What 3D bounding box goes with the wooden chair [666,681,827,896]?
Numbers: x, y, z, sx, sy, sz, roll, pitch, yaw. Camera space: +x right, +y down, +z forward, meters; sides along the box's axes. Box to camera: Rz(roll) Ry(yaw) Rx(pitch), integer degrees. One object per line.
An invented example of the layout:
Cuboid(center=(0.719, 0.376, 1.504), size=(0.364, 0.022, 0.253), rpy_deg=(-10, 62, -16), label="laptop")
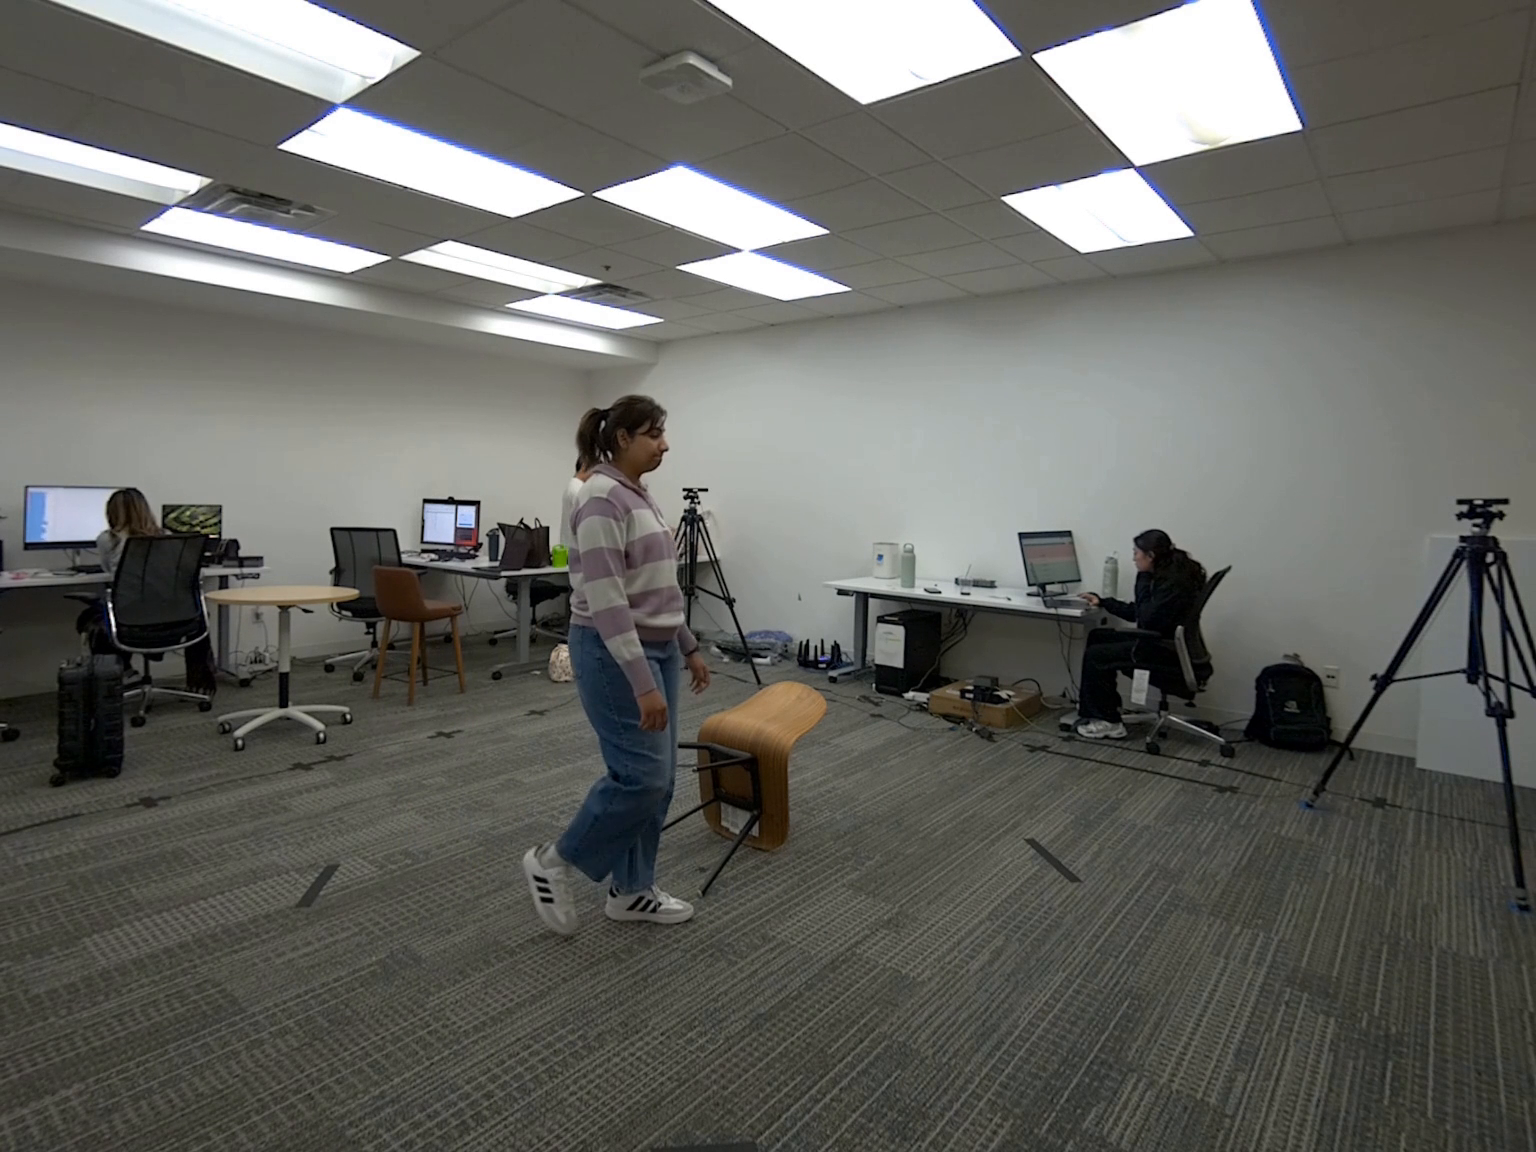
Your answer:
Cuboid(center=(-0.142, 0.795, 3.327), size=(0.494, 0.518, 0.858), rpy_deg=(3, 14, 41), label="wooden chair")
